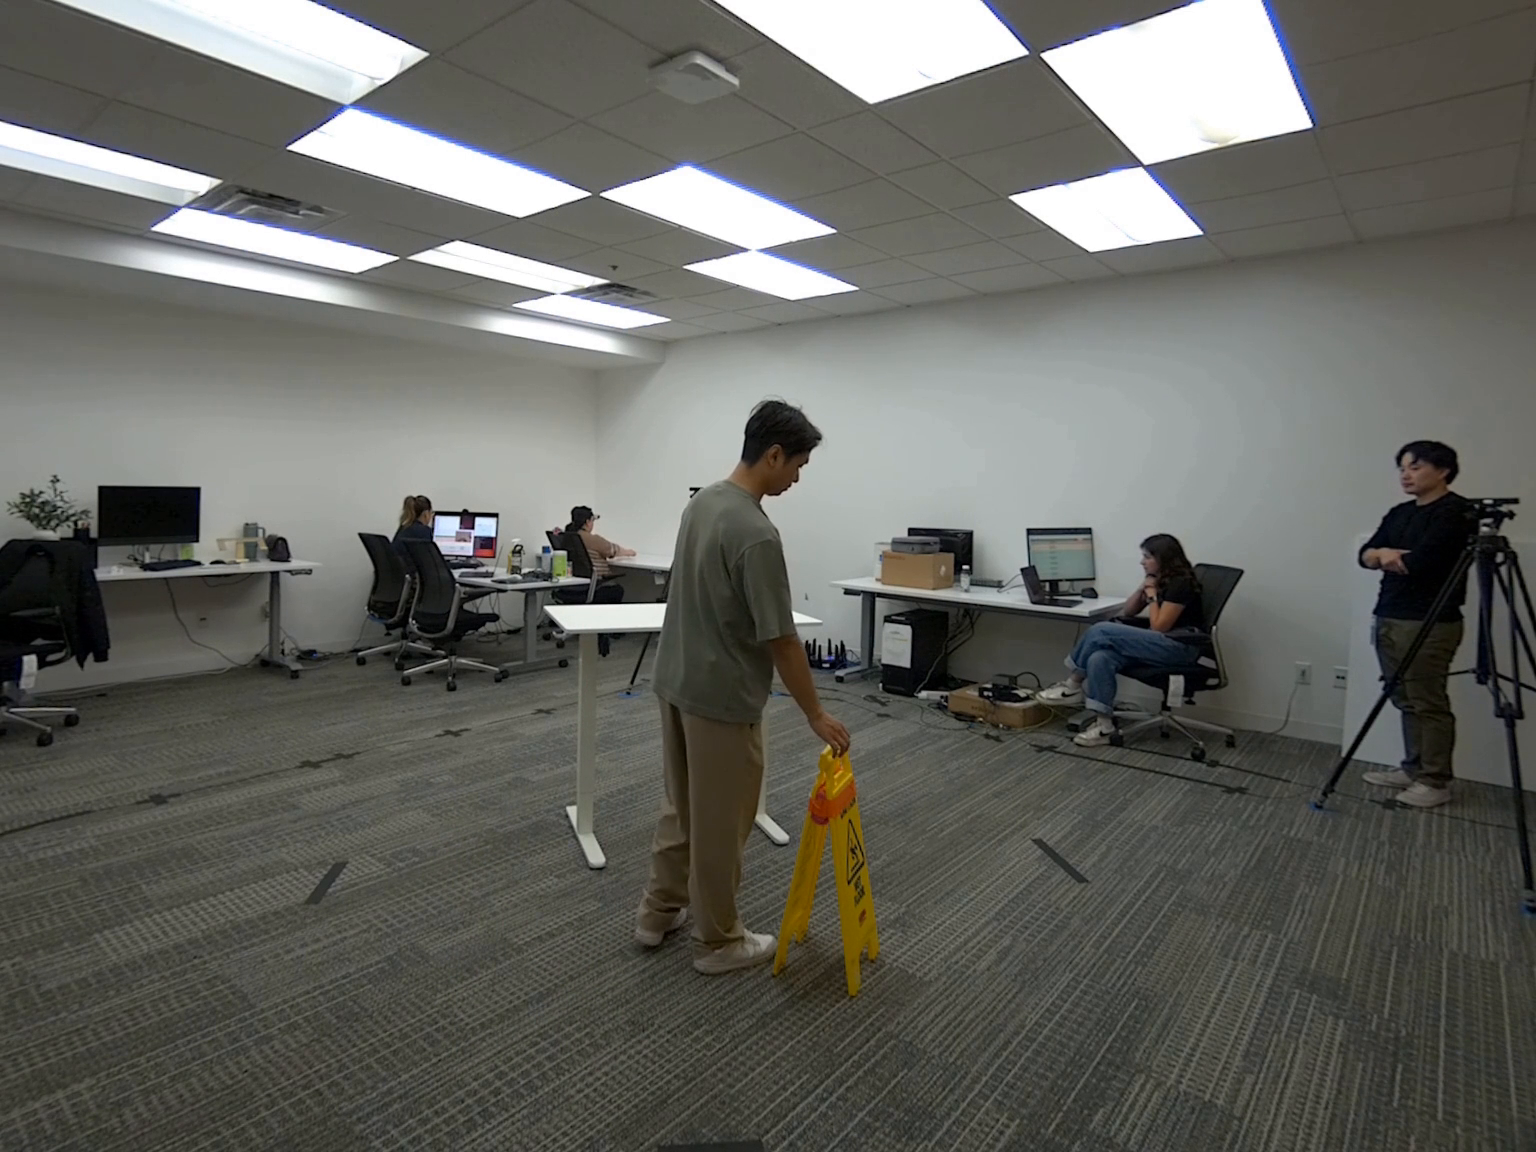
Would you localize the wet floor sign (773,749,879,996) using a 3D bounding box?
[{"bbox_3d":[0.173,0.816,2.489,0.297,0.643,0.276,4,5,23],"label":"wet floor sign"}]
